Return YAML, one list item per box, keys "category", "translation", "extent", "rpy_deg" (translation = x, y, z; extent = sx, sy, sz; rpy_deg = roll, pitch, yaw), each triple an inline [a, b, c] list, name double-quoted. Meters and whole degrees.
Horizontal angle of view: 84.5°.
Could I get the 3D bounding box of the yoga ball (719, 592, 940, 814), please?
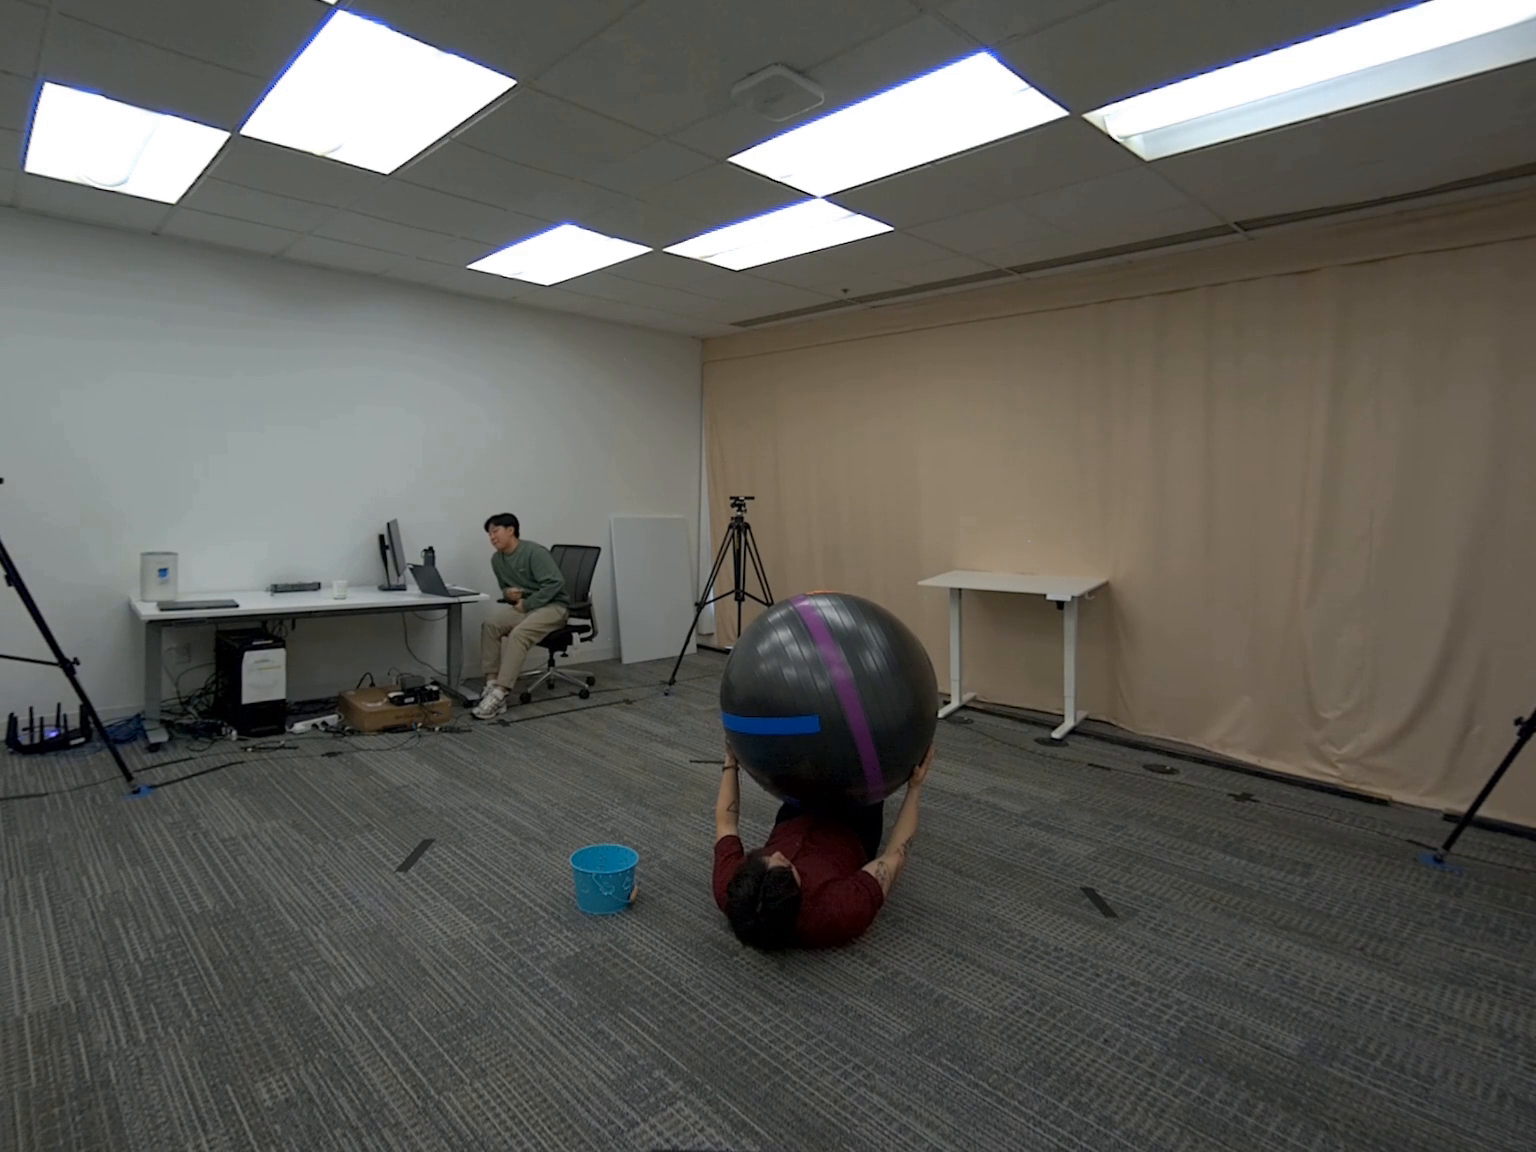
- category: "yoga ball"
  translation: [0.209, 0.436, 2.967]
  extent: [0.757, 0.756, 0.761]
  rpy_deg: [1, 4, -1]
